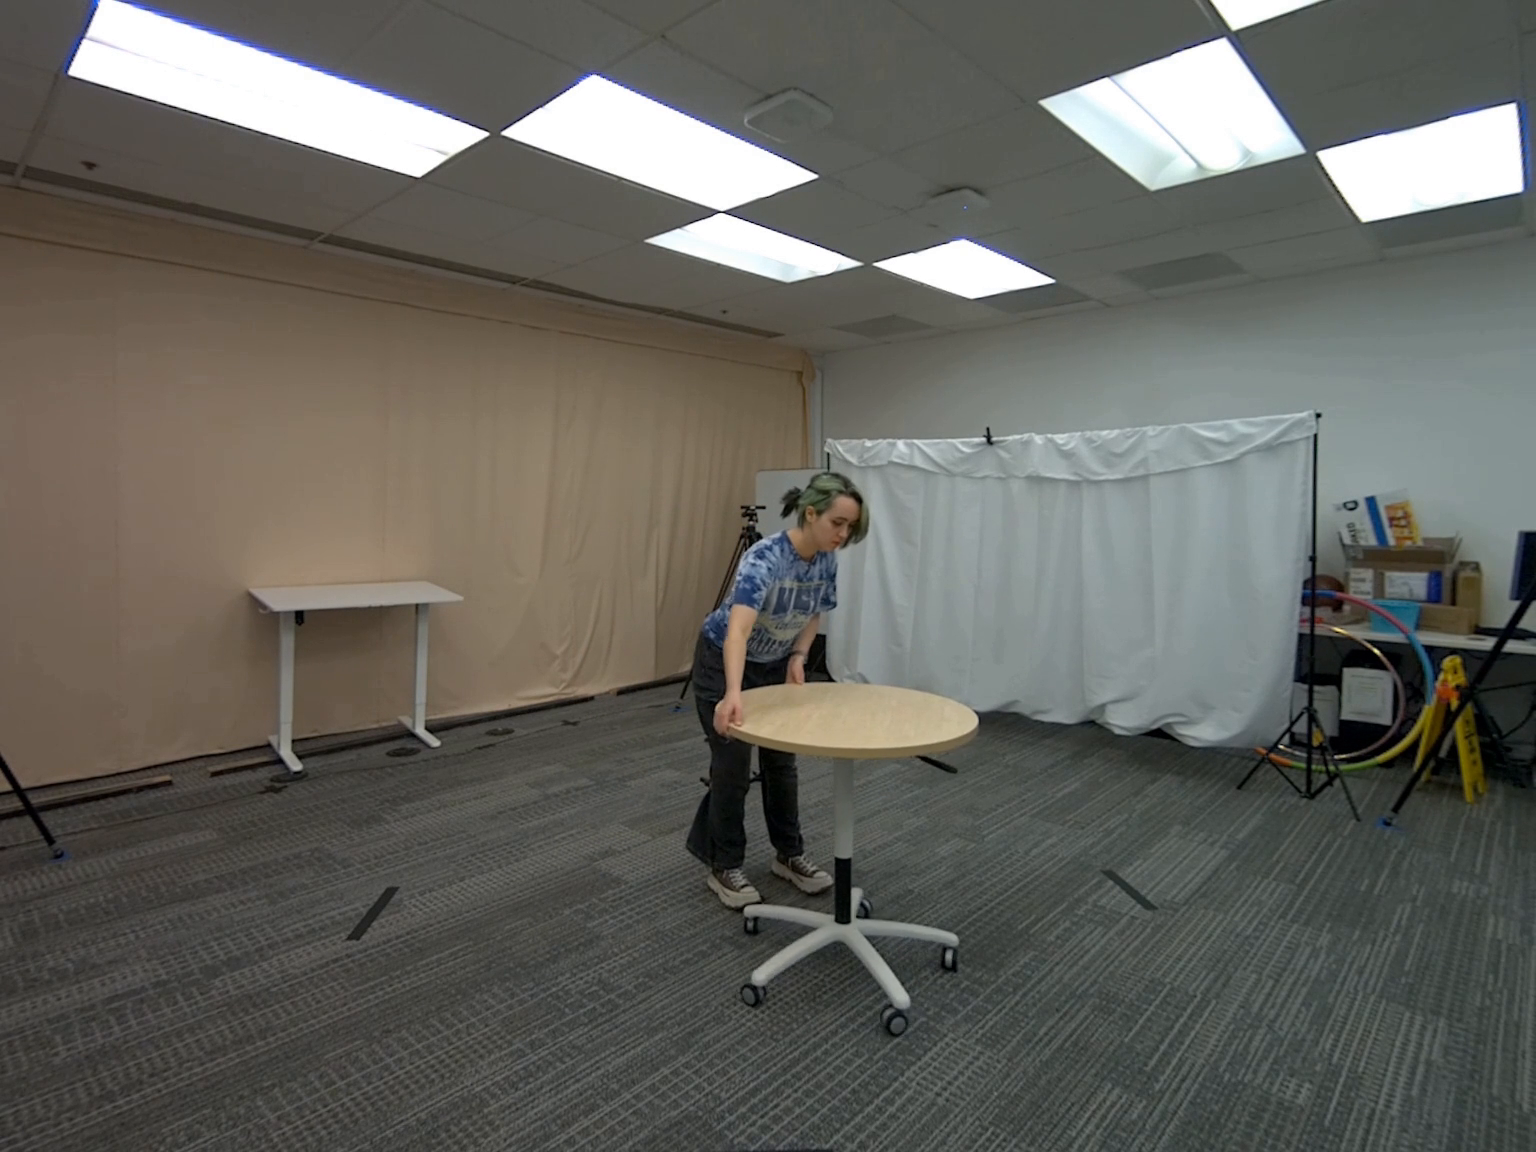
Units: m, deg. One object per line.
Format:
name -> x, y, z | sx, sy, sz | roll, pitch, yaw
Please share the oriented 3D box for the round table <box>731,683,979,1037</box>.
round table -> 0.237, 0.797, 2.517 | 0.763, 0.792, 0.767 | 0, 4, -2
